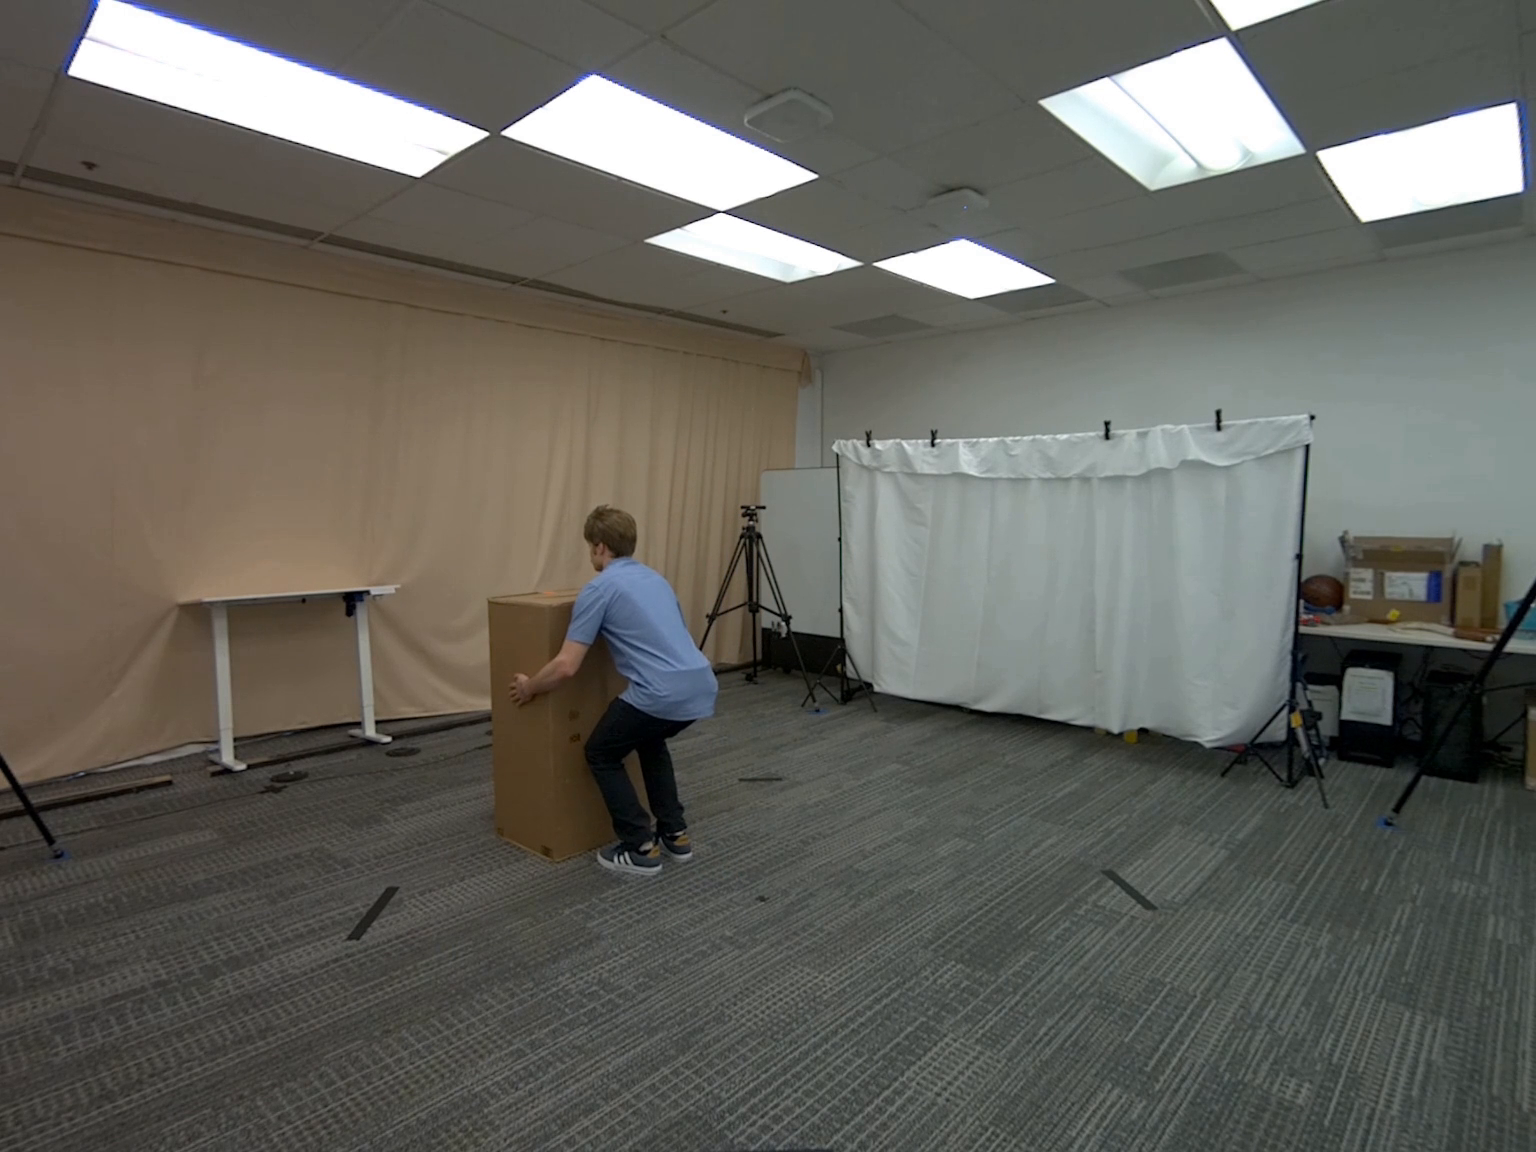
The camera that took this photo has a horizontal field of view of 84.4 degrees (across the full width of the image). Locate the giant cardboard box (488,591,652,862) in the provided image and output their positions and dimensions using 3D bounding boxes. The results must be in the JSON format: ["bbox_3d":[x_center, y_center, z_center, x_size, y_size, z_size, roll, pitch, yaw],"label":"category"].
[{"bbox_3d":[-0.829,0.589,3.620,0.440,1.024,0.560,2,4,42],"label":"giant cardboard box"}]
